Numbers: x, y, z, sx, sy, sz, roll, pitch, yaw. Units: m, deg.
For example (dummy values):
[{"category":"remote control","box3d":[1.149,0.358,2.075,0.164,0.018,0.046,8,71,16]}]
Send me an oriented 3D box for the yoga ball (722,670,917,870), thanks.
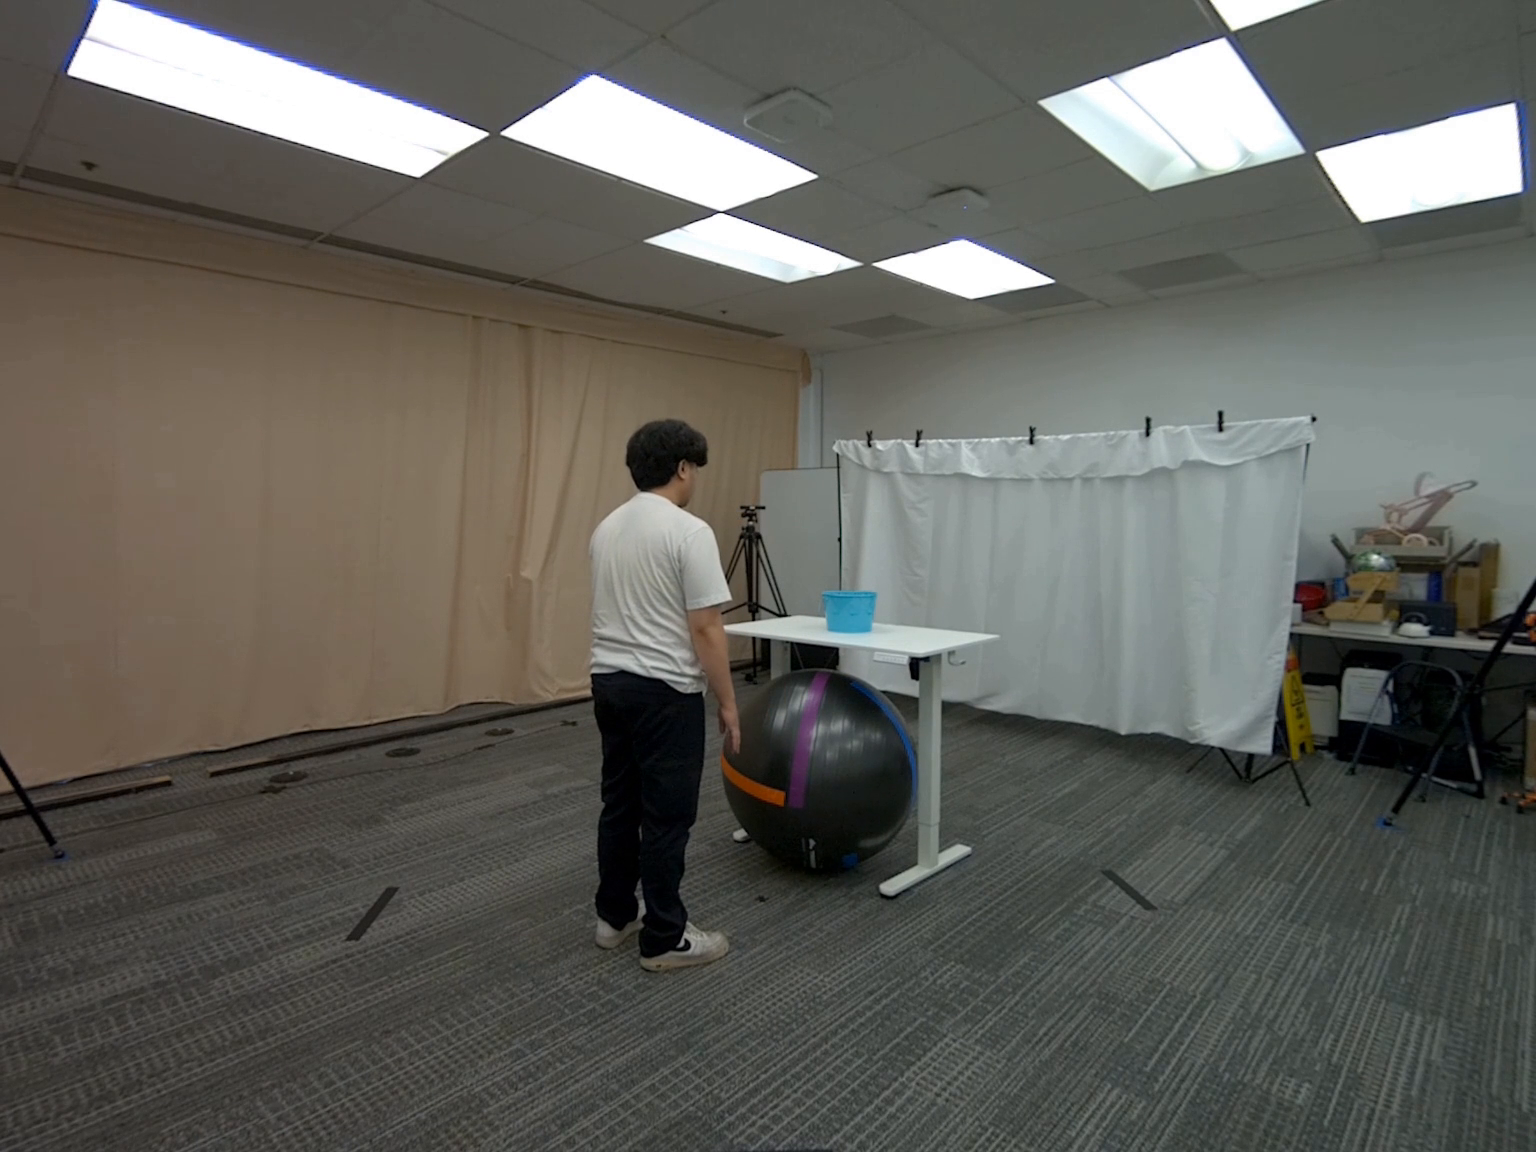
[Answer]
[{"category":"yoga ball","box3d":[0.198,0.754,3.288,0.757,0.756,0.760,0,4,-2]}]
